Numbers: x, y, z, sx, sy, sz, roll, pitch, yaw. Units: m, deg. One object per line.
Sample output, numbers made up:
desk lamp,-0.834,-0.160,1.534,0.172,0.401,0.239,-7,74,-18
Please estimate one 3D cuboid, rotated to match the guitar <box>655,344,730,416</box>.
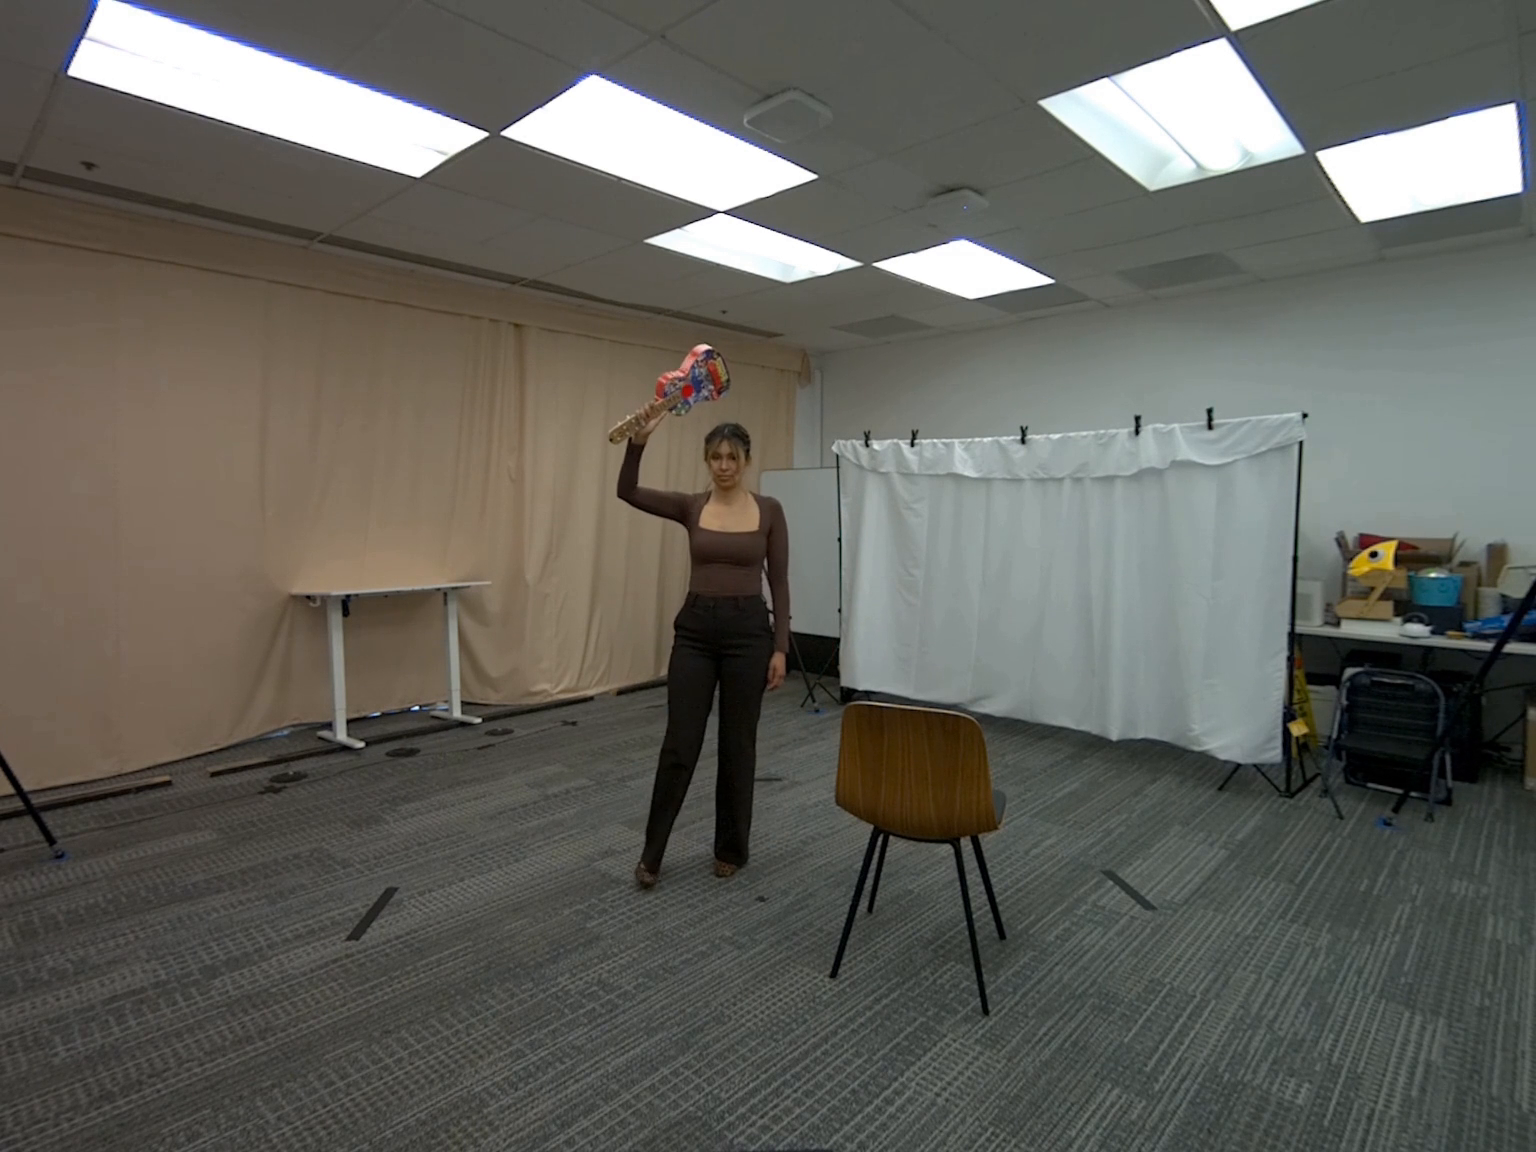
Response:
guitar,-0.351,-0.629,2.903,0.492,0.188,0.073,-29,35,-19
